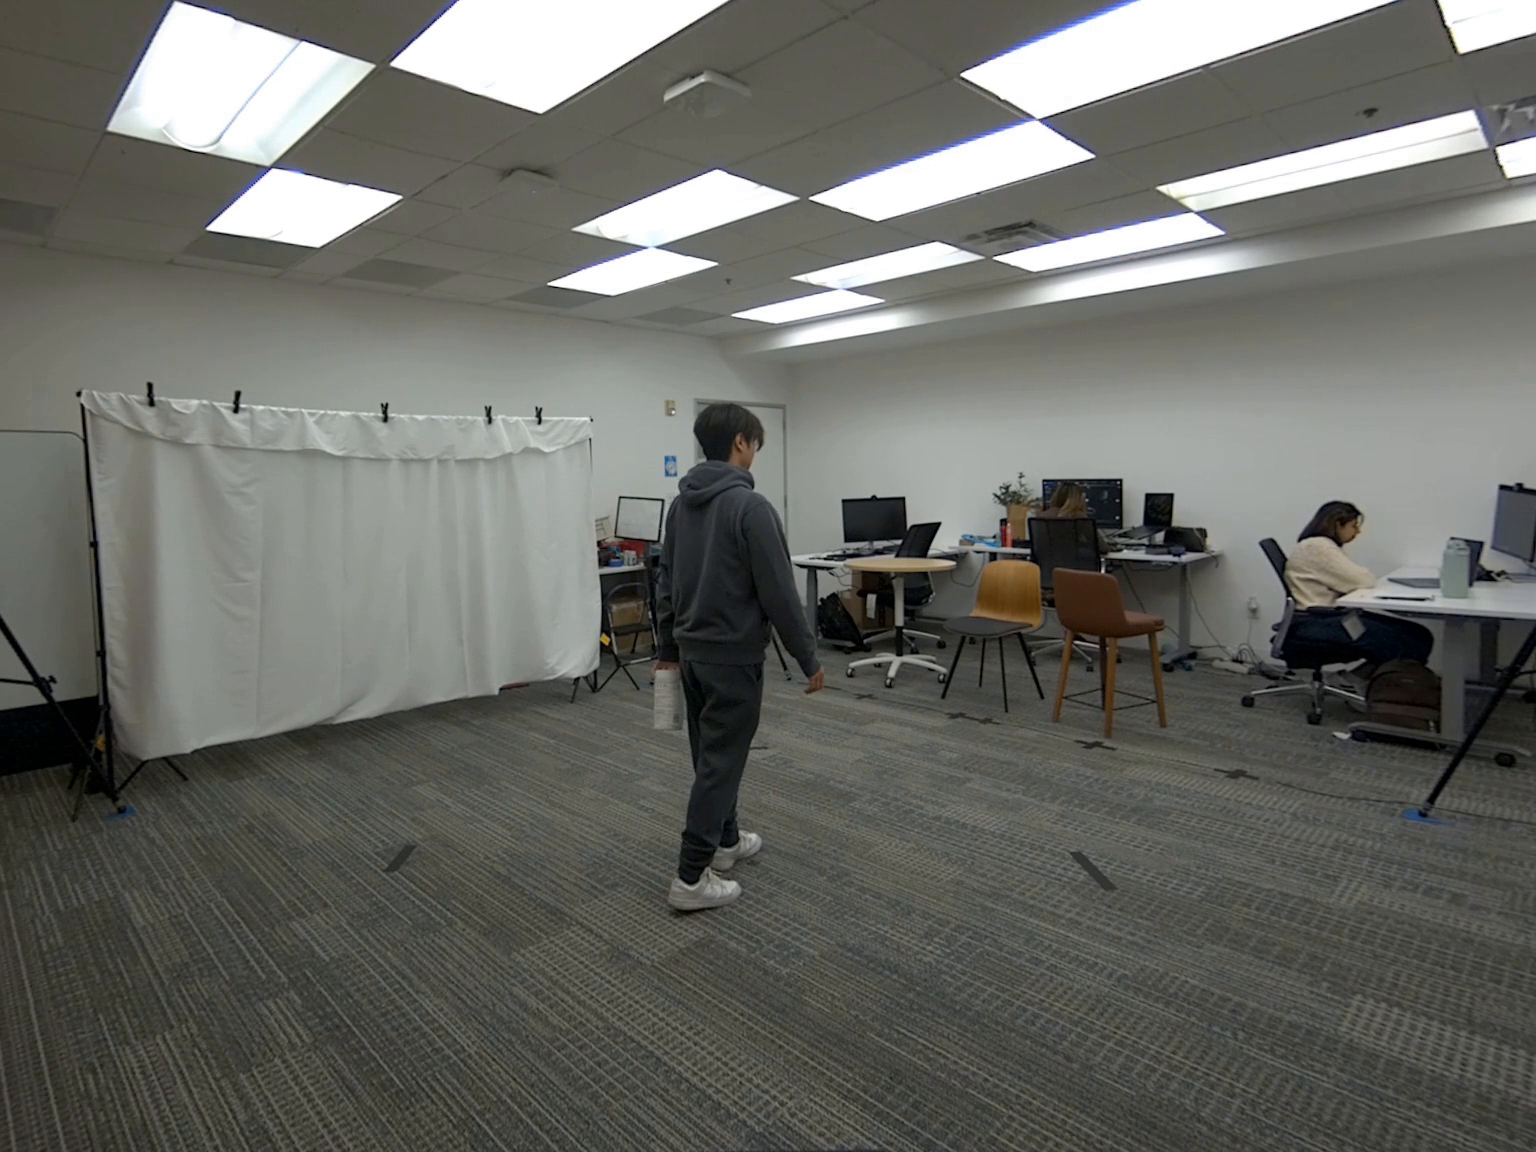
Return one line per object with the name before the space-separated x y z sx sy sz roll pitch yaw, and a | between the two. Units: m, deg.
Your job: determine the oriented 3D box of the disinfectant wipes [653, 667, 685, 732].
disinfectant wipes | -0.359 0.450 3.131 0.118 0.218 0.117 1 -5 -2
